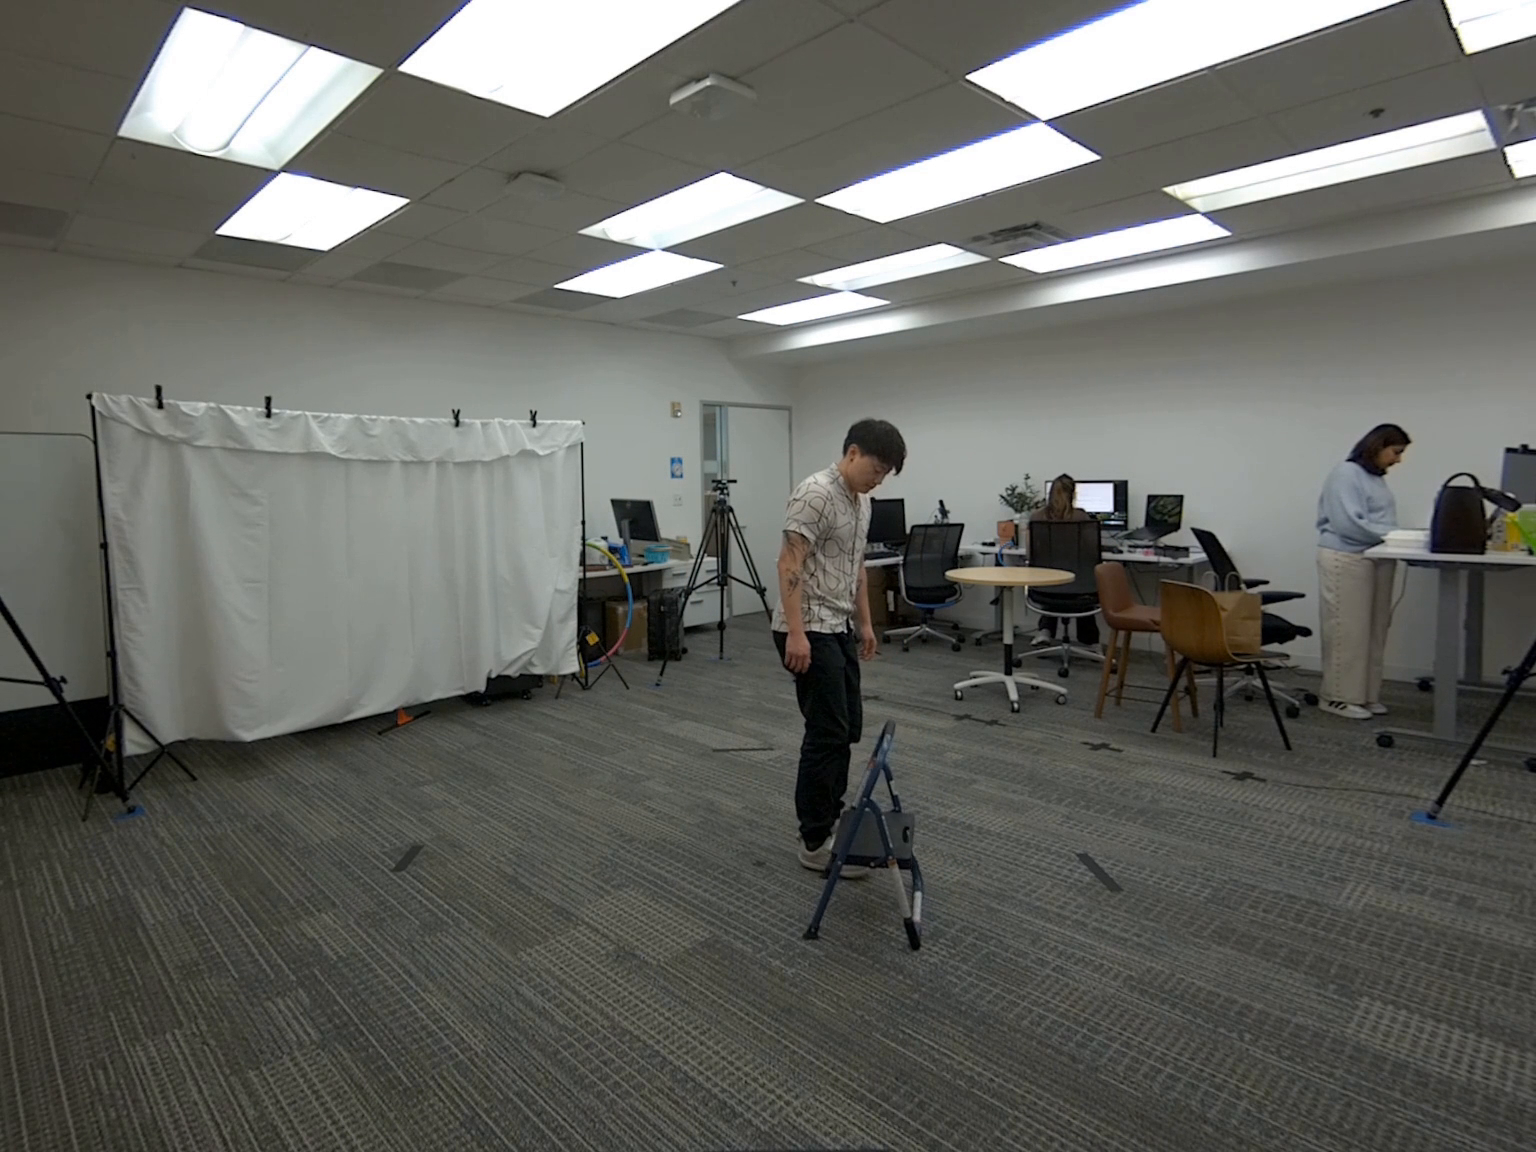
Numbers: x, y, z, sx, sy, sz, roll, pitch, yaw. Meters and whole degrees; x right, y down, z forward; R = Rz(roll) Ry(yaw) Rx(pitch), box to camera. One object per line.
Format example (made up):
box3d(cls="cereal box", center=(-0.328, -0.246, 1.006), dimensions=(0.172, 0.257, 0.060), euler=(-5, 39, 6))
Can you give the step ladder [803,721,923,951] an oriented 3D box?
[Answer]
box3d(cls="step ladder", center=(0.318, 0.787, 2.736), dimensions=(0.354, 0.604, 0.427), euler=(-1, 4, 12))
